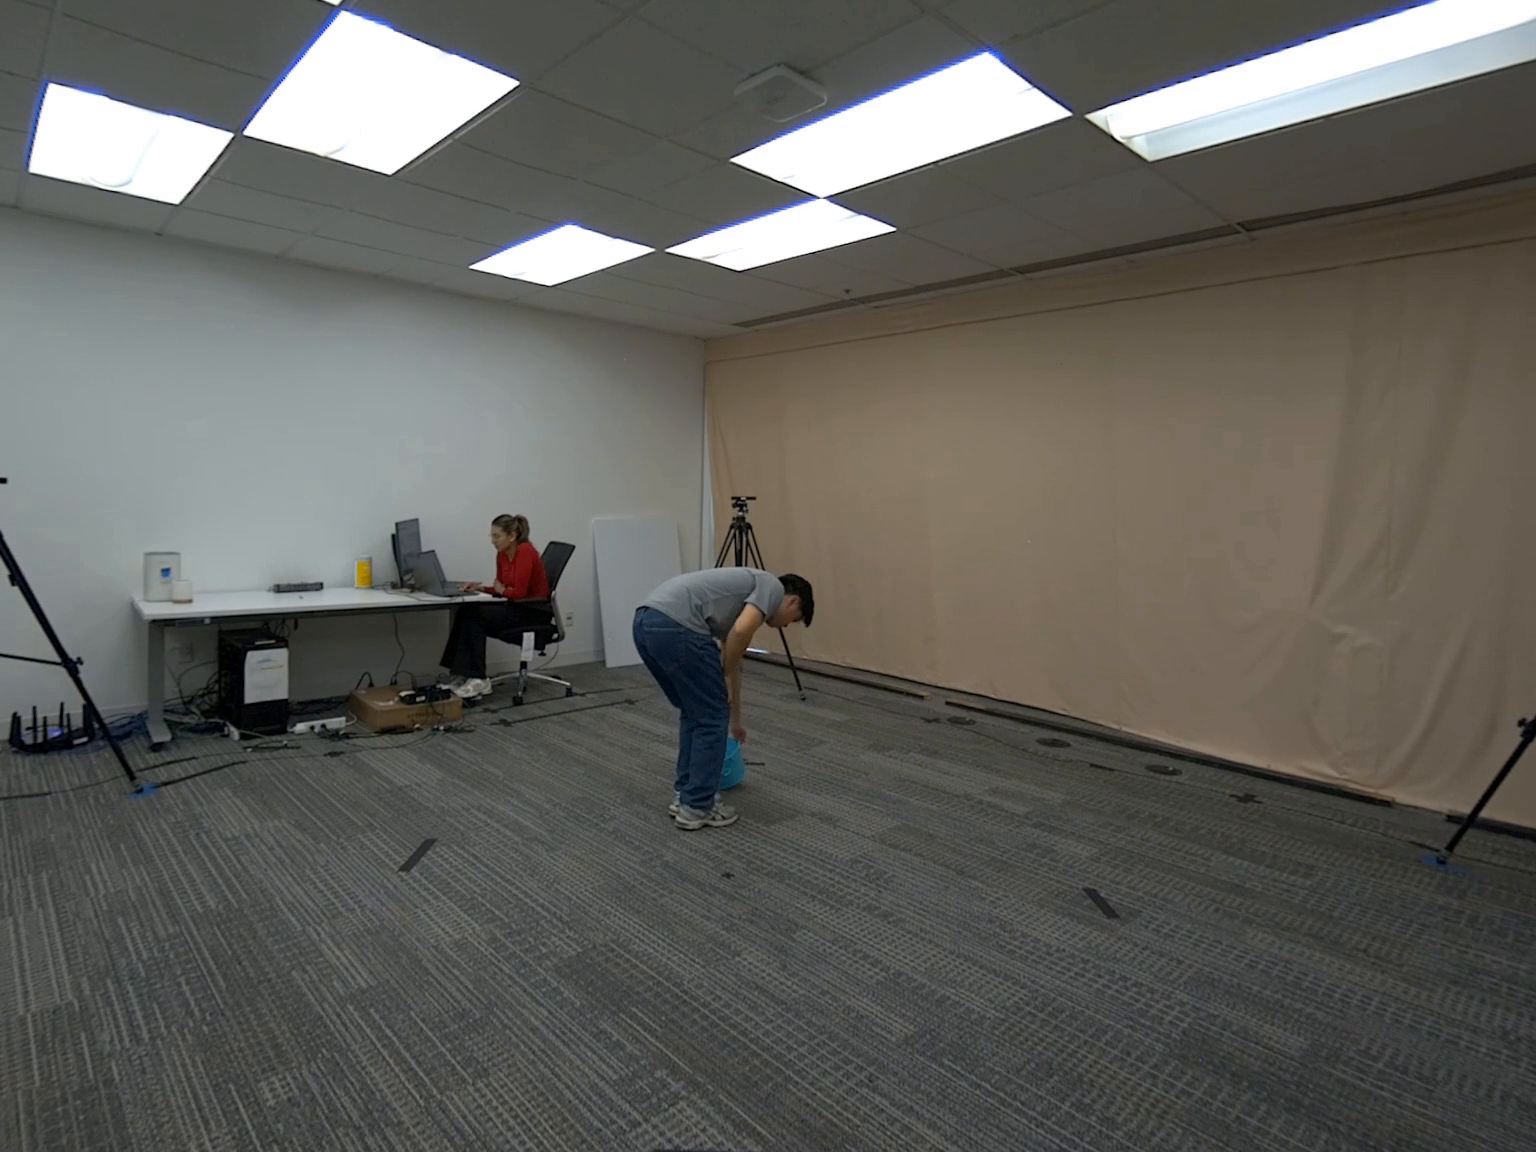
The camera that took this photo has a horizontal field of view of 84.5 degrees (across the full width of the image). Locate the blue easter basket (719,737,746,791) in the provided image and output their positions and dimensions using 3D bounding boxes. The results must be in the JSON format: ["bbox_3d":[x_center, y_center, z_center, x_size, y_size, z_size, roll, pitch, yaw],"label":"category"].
[{"bbox_3d":[-0.227,0.911,4.058,0.244,0.153,0.247,-21,18,6],"label":"blue easter basket"}]
